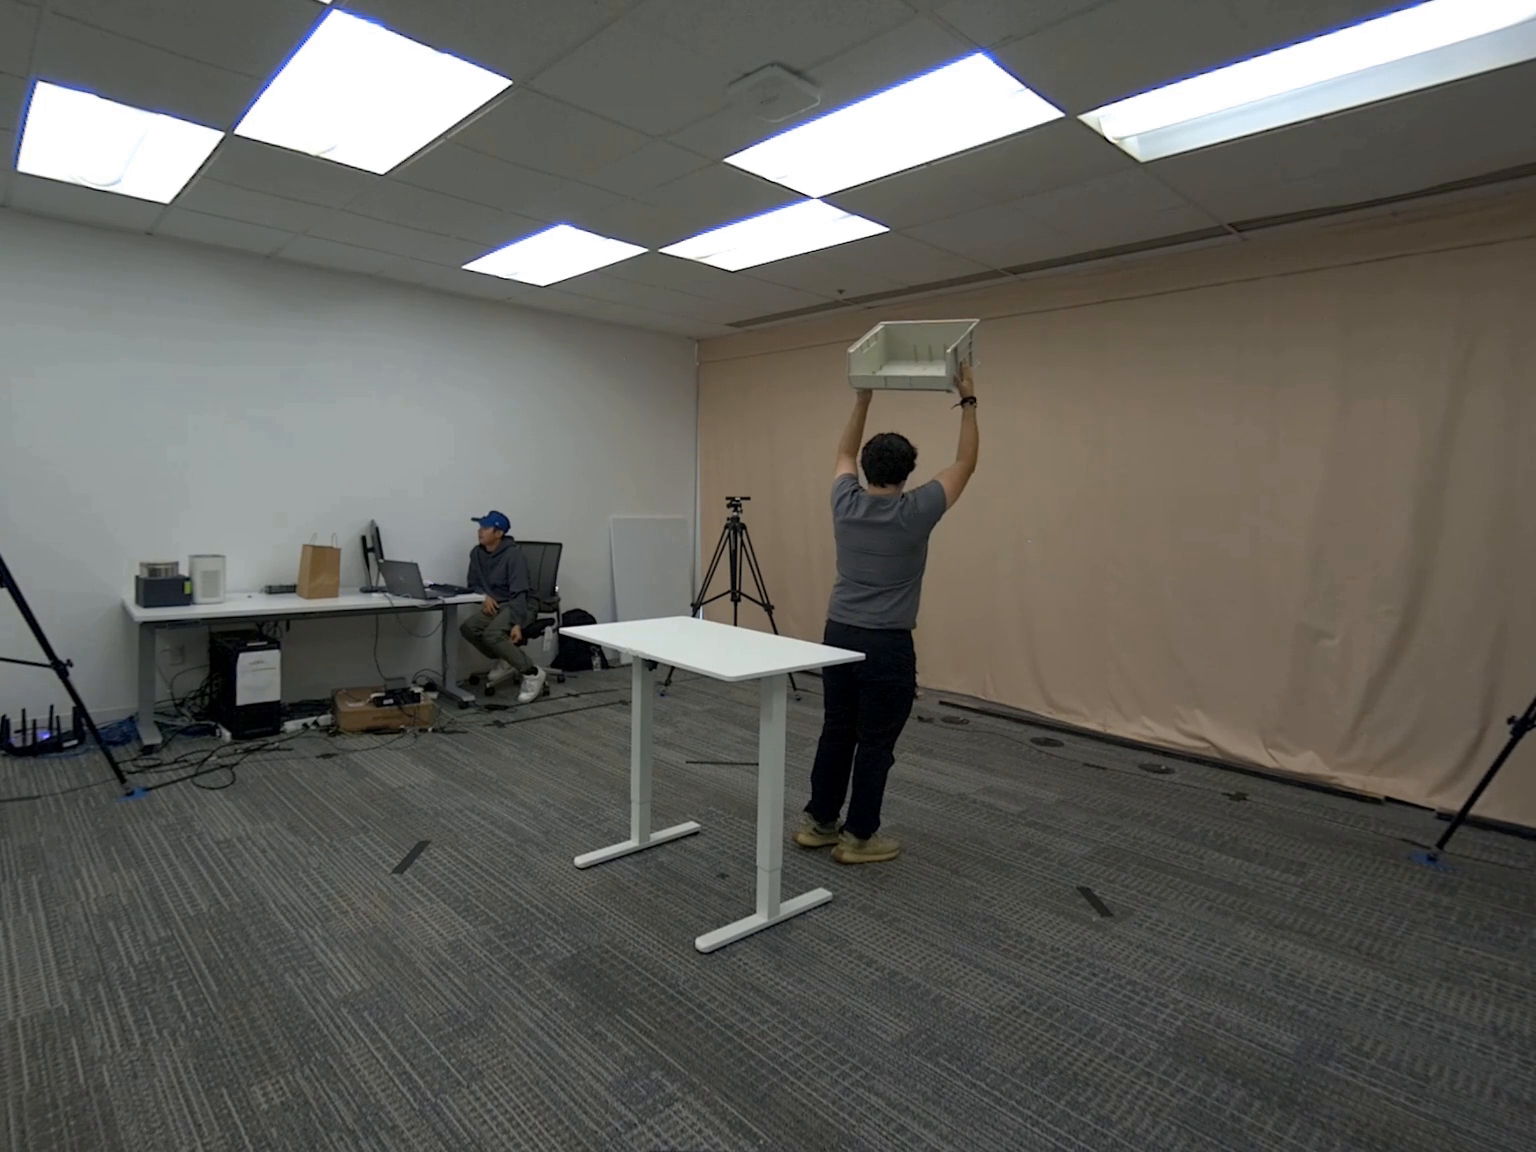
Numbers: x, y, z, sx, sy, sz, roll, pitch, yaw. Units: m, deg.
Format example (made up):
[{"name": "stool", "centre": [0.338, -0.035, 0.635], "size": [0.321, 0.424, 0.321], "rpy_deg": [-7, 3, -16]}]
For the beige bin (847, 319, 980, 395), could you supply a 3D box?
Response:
[{"name": "beige bin", "centre": [0.574, -0.864, 3.347], "size": [0.432, 0.185, 0.377], "rpy_deg": [8, 36, 32]}]
